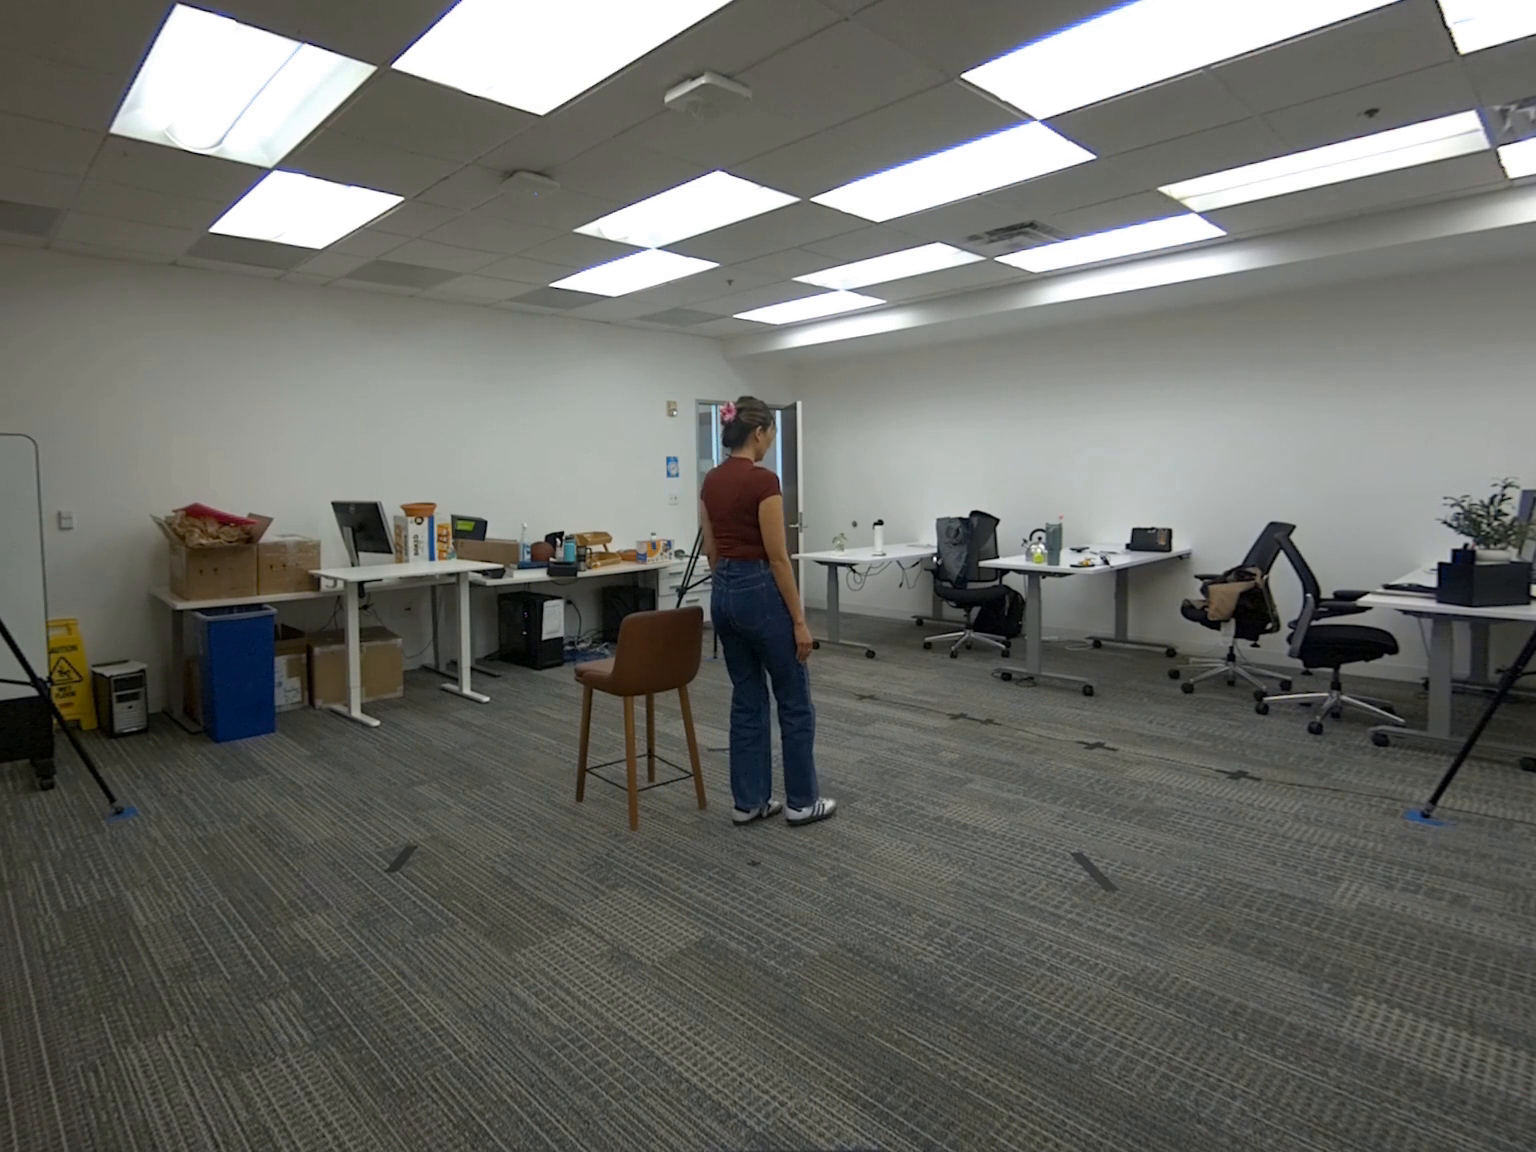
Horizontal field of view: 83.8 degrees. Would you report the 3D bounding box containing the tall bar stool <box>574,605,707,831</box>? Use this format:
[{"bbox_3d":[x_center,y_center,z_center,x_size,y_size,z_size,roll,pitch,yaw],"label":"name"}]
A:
[{"bbox_3d":[-0.549,0.554,3.671,0.444,0.885,0.482,-4,7,-40],"label":"tall bar stool"}]
